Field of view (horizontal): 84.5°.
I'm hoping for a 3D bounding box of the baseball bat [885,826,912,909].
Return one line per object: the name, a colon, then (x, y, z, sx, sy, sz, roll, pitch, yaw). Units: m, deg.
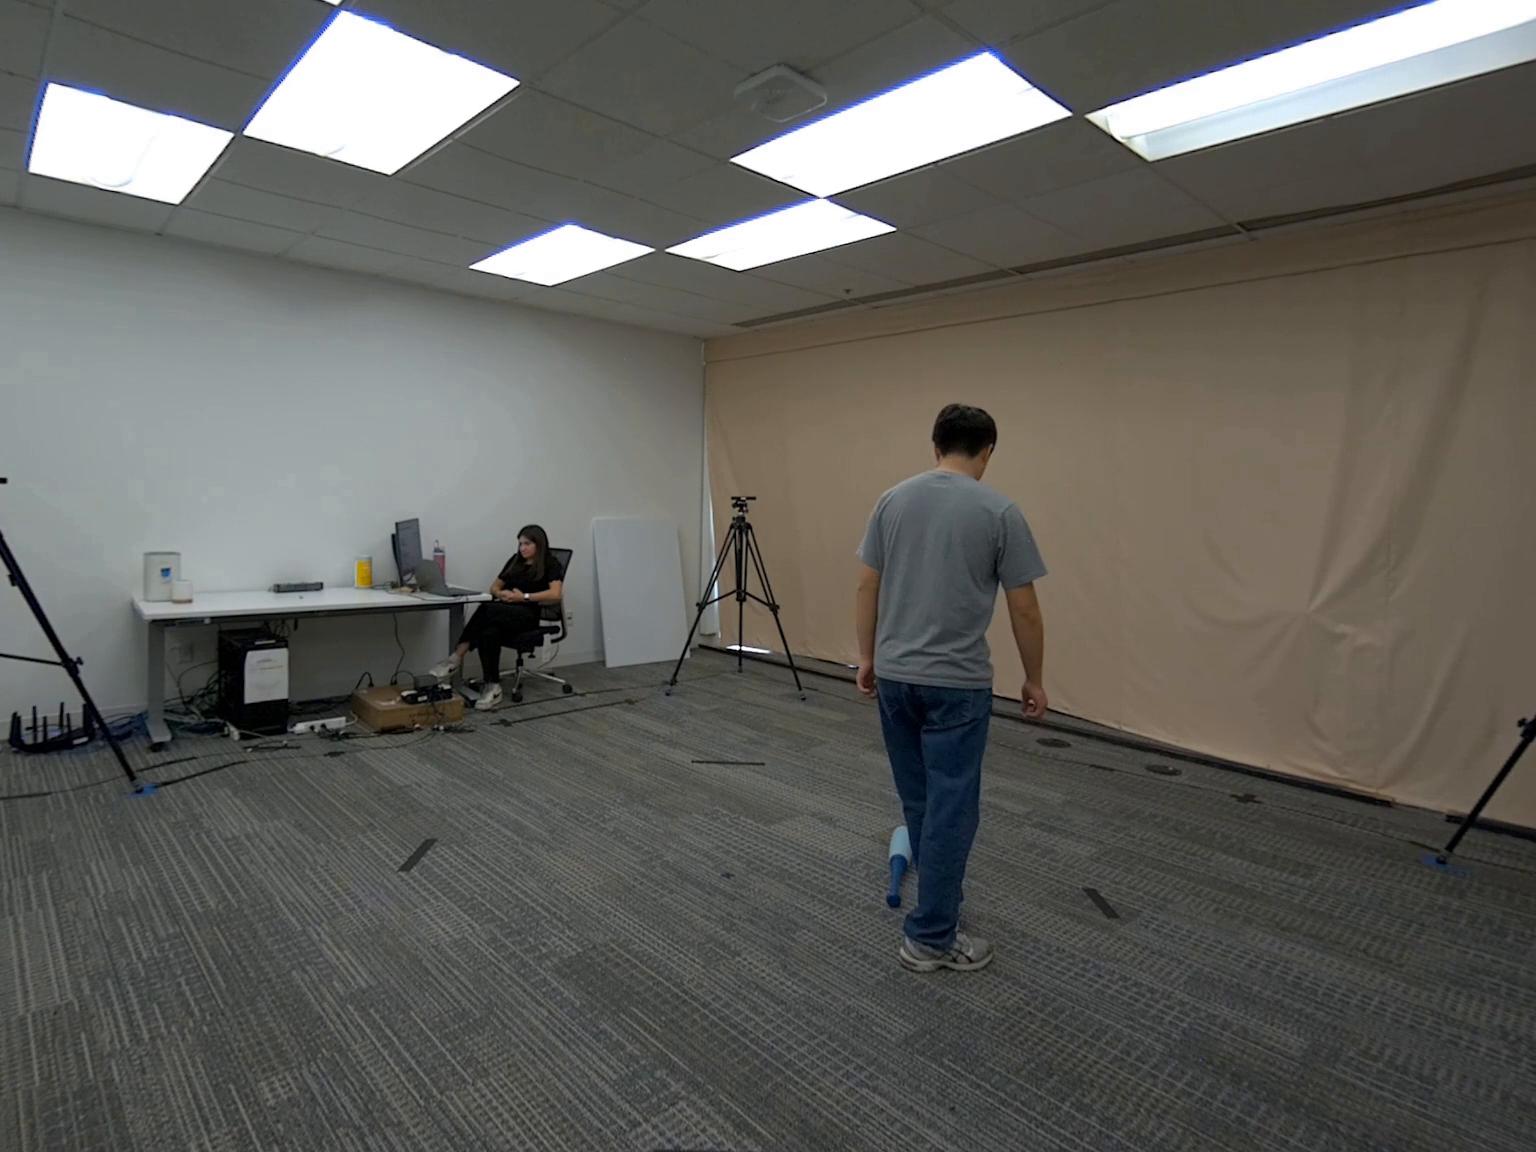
baseball bat: (0.483, 1.082, 3.140, 0.090, 0.088, 0.540, 2, 8, 11)
